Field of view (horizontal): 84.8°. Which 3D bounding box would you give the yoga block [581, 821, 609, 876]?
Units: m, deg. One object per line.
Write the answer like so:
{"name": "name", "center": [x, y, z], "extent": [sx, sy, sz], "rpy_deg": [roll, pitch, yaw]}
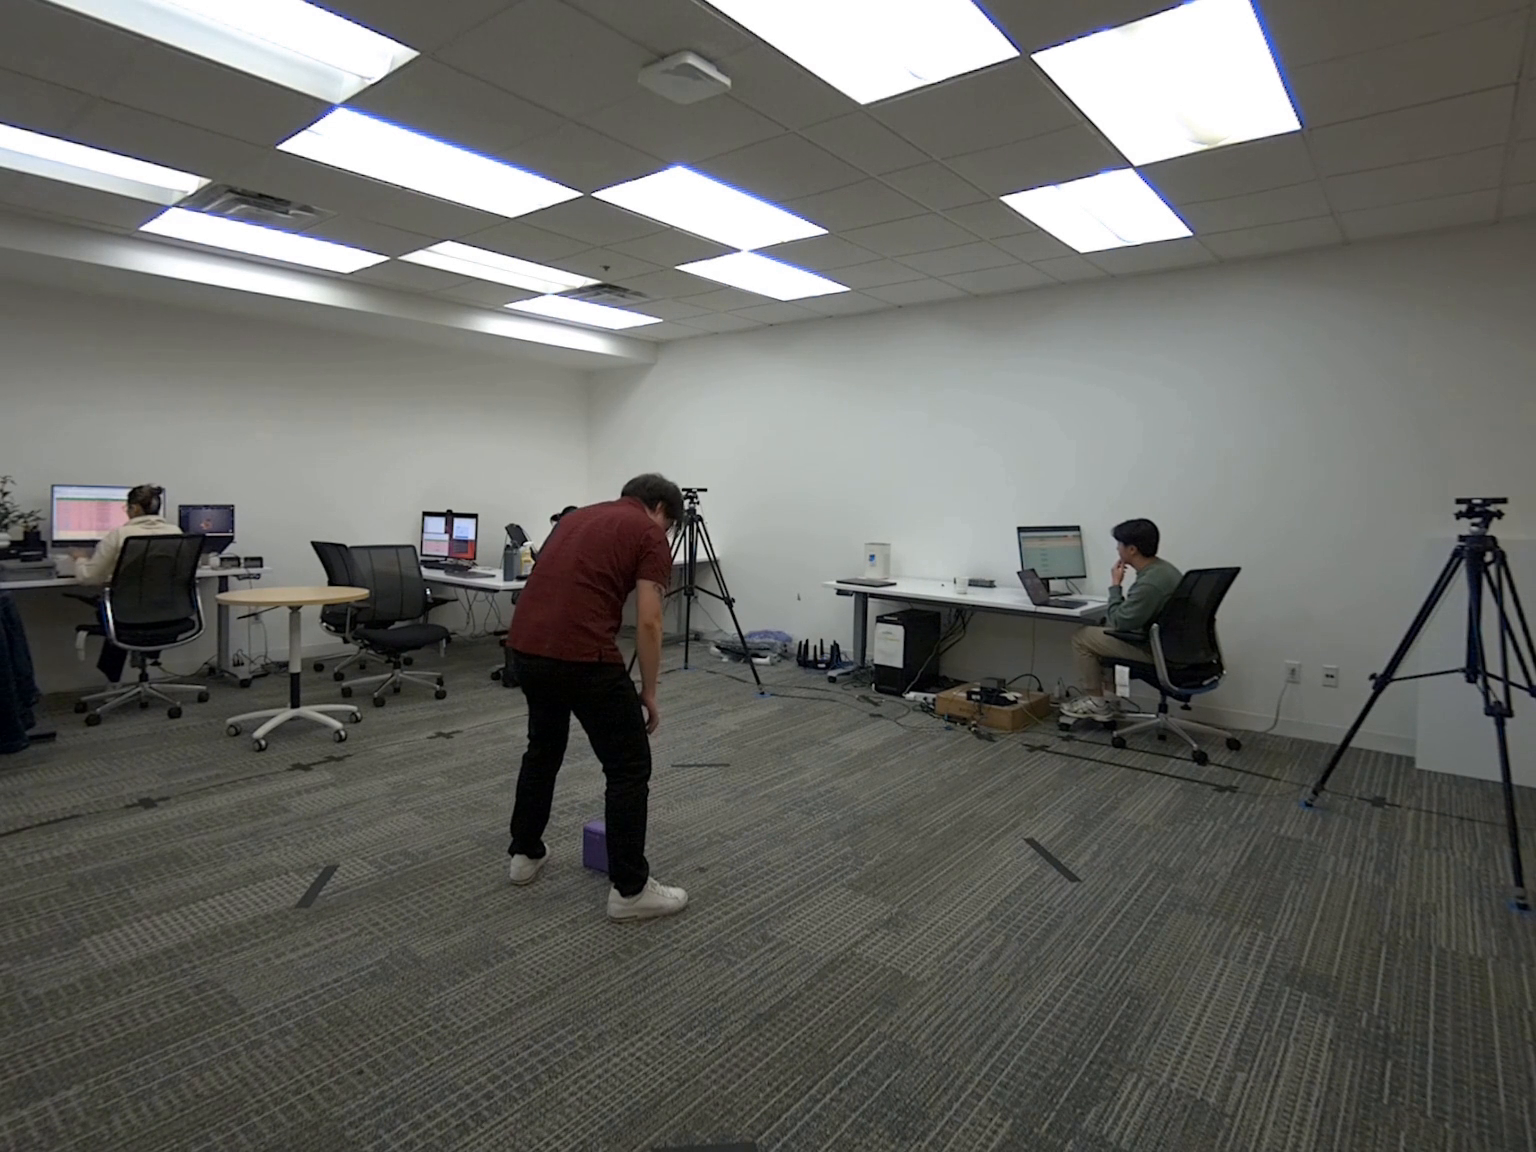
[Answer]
{"name": "yoga block", "center": [-0.577, 0.992, 3.084], "extent": [0.236, 0.148, 0.074], "rpy_deg": [3, 4, 28]}
